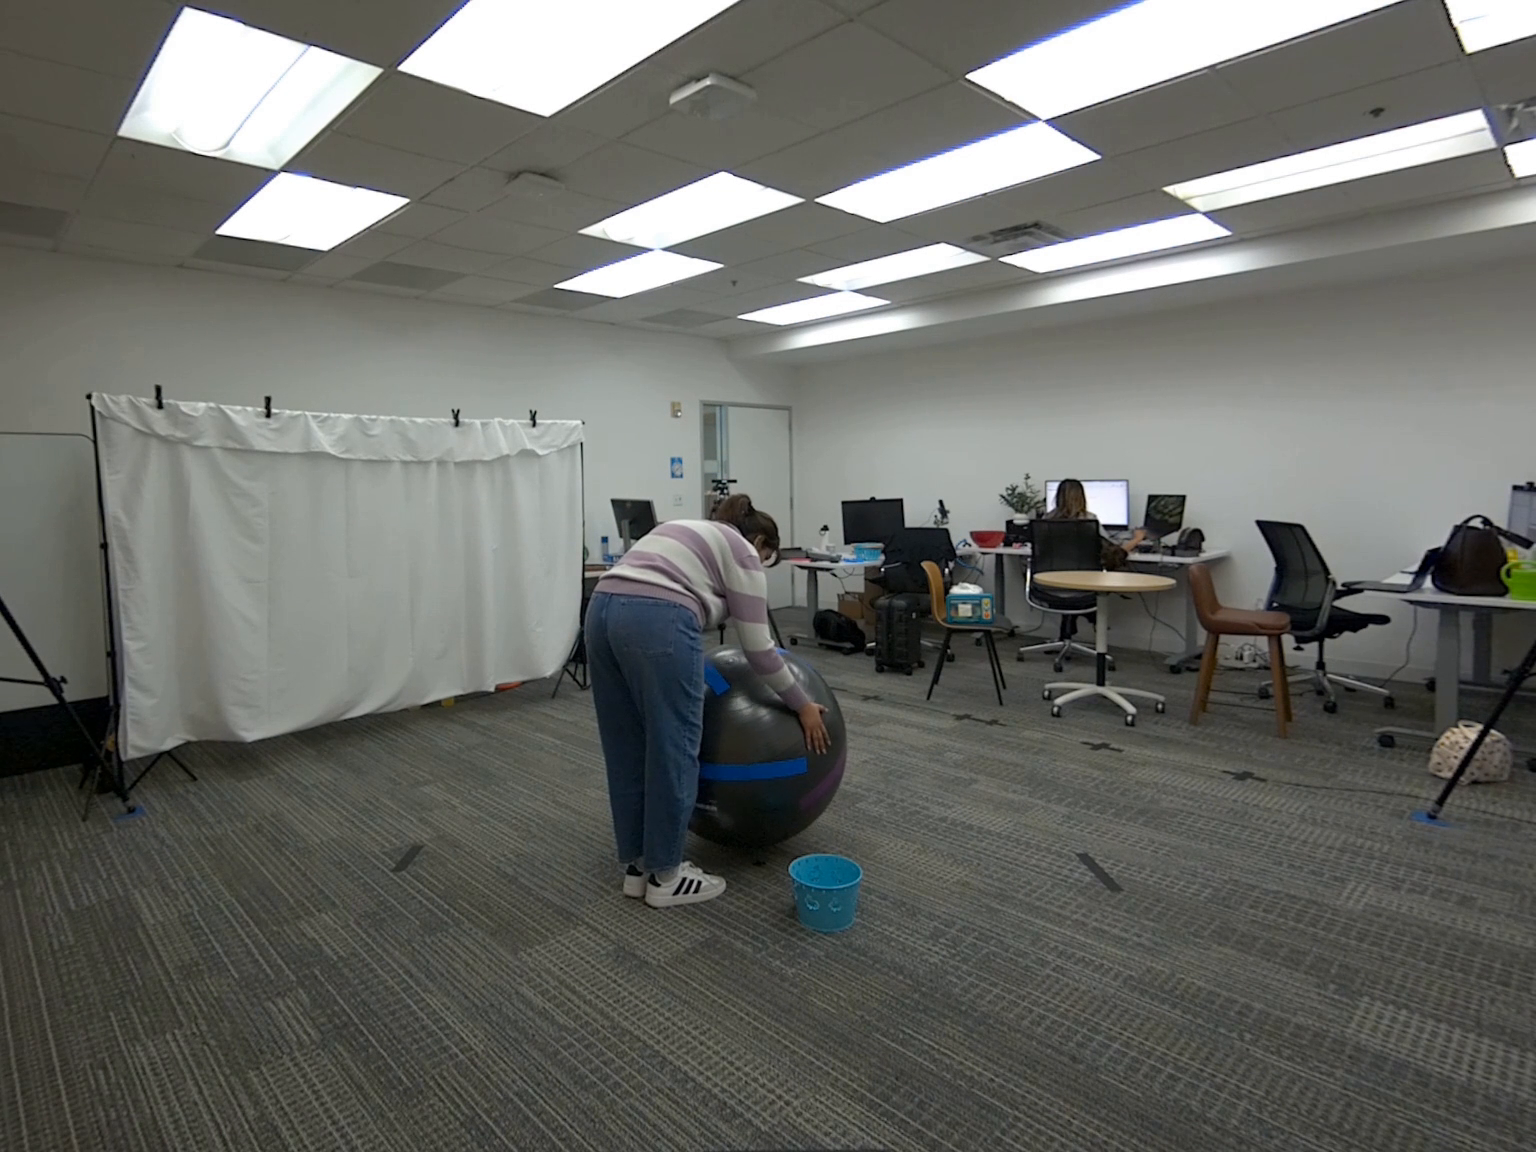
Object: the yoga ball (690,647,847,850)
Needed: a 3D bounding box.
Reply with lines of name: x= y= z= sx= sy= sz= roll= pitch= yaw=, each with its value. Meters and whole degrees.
yoga ball: x=-0.075 y=0.642 z=3.235 sx=0.757 sy=0.755 sz=0.762 roll=-1 pitch=5 yaw=-2
